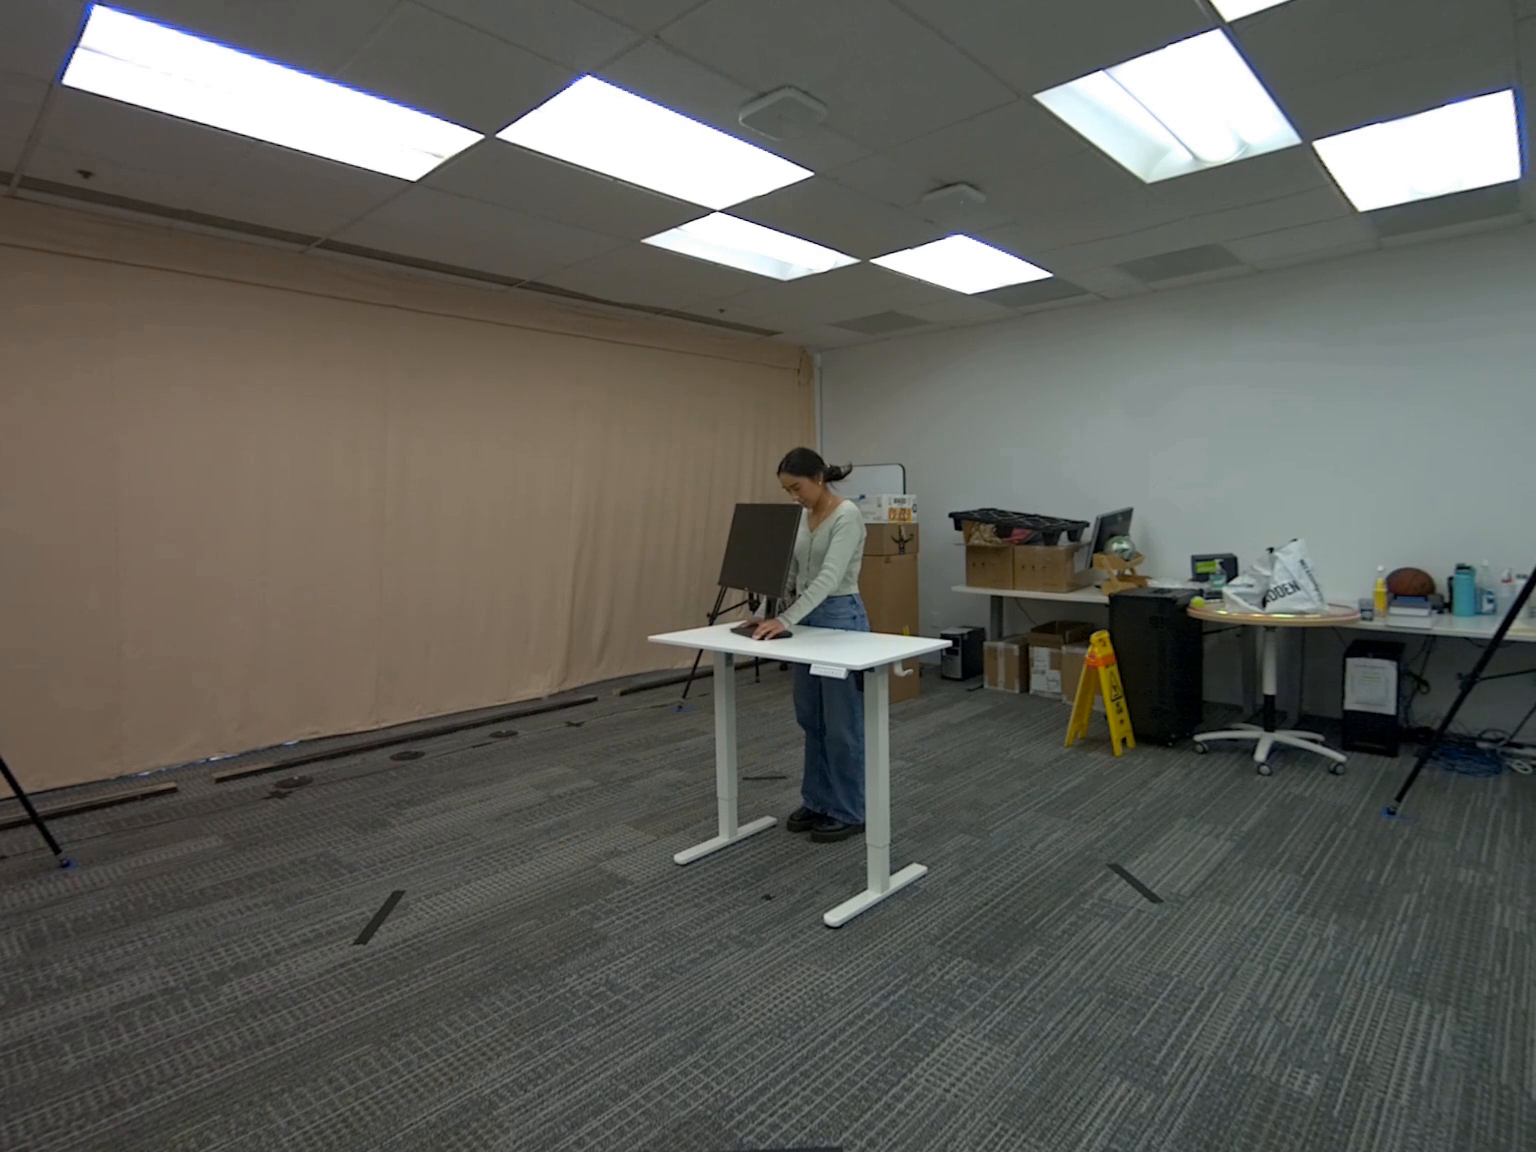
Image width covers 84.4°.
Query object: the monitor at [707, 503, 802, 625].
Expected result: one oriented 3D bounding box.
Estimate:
[{"bbox_3d":[-0.026,-0.028,3.308,0.171,0.514,0.543,-7,7,-23],"label":"monitor"}]
